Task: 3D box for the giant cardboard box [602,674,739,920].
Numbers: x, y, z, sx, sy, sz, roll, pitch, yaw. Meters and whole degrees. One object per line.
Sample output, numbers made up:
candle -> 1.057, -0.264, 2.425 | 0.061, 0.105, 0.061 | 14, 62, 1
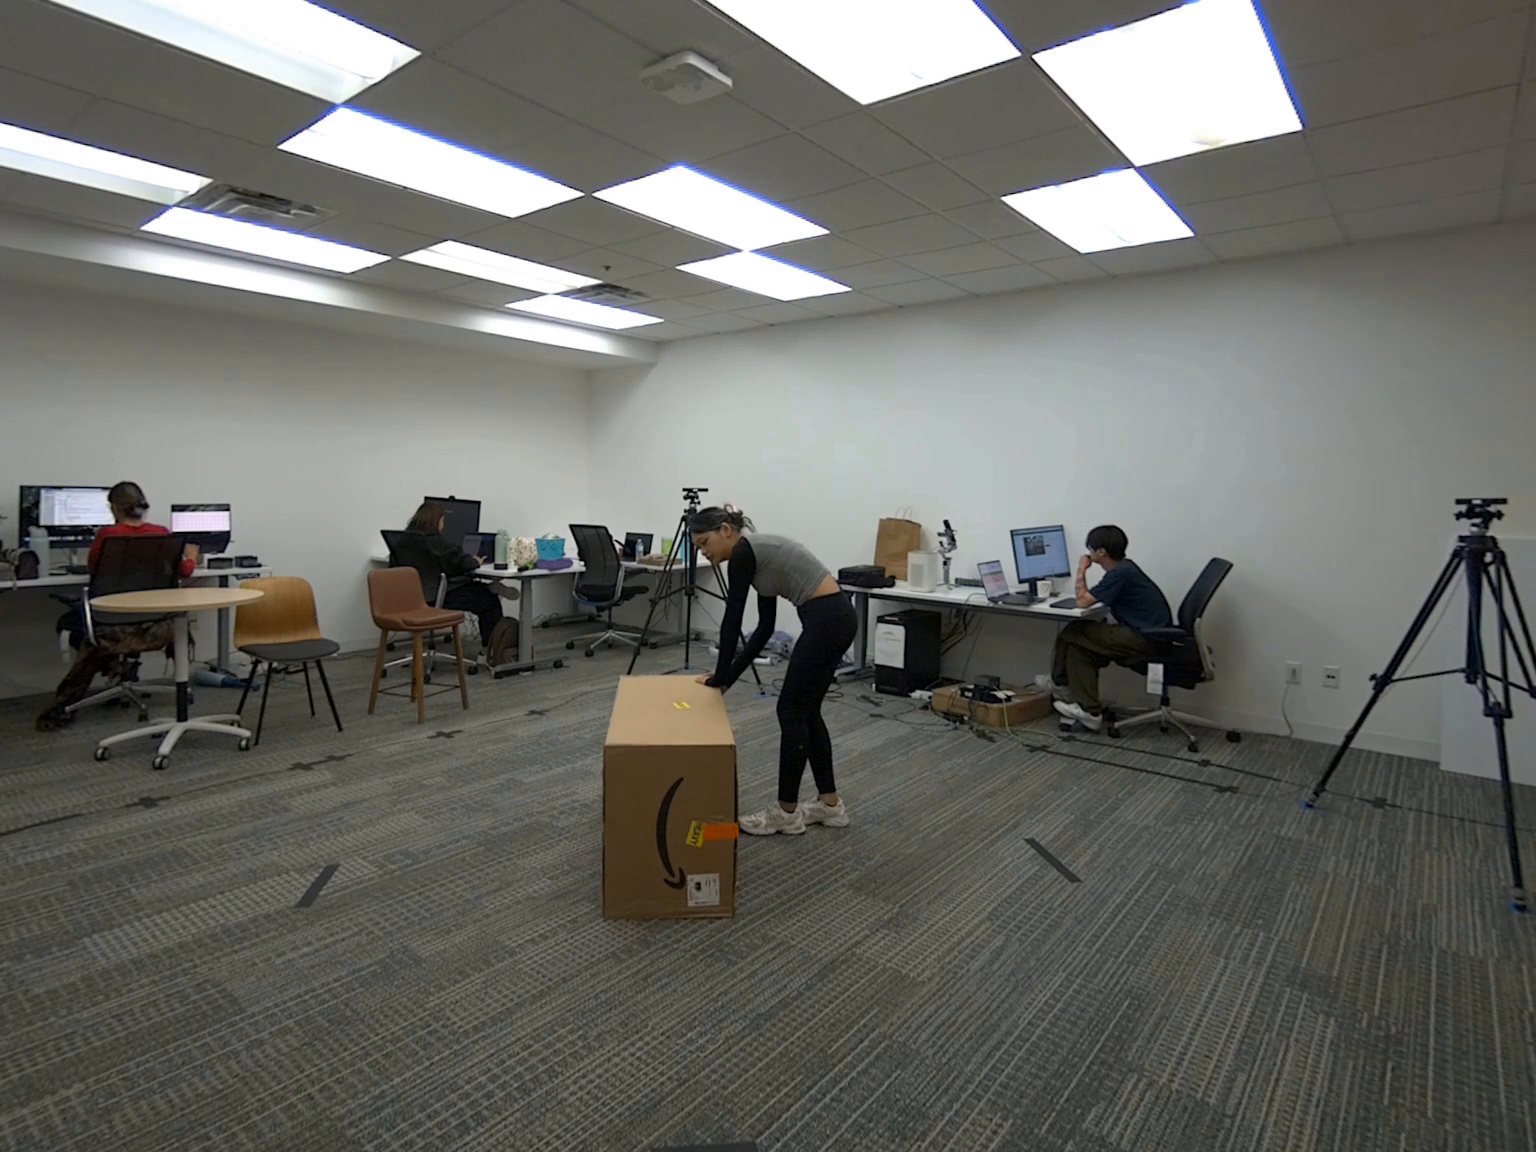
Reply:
giant cardboard box -> -0.387, 0.765, 3.227 | 0.444, 0.582, 1.038 | 1, 5, -8
